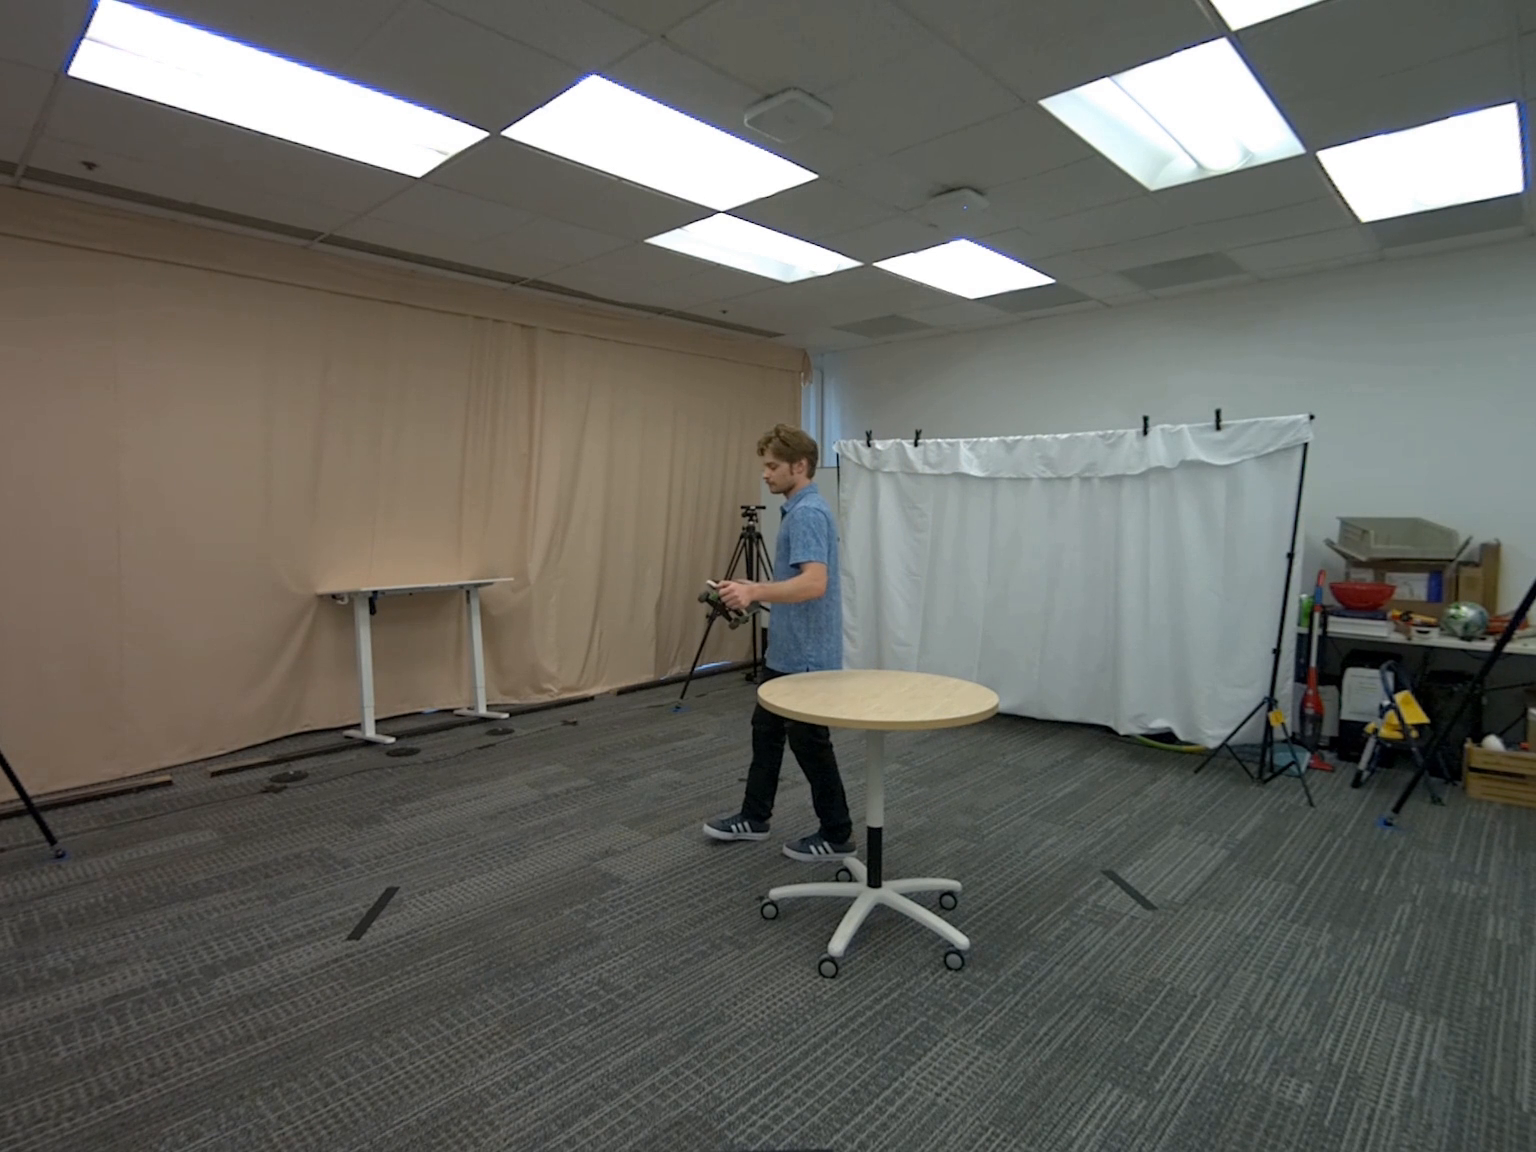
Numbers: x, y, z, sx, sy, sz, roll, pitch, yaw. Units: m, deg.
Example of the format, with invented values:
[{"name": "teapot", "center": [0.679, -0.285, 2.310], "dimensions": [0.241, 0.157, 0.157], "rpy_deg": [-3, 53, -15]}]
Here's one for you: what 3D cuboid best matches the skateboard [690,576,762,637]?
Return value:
[{"name": "skateboard", "center": [-0.147, 0.107, 3.326], "dimensions": [0.194, 0.110, 0.781], "rpy_deg": [39, 1, 2]}]
